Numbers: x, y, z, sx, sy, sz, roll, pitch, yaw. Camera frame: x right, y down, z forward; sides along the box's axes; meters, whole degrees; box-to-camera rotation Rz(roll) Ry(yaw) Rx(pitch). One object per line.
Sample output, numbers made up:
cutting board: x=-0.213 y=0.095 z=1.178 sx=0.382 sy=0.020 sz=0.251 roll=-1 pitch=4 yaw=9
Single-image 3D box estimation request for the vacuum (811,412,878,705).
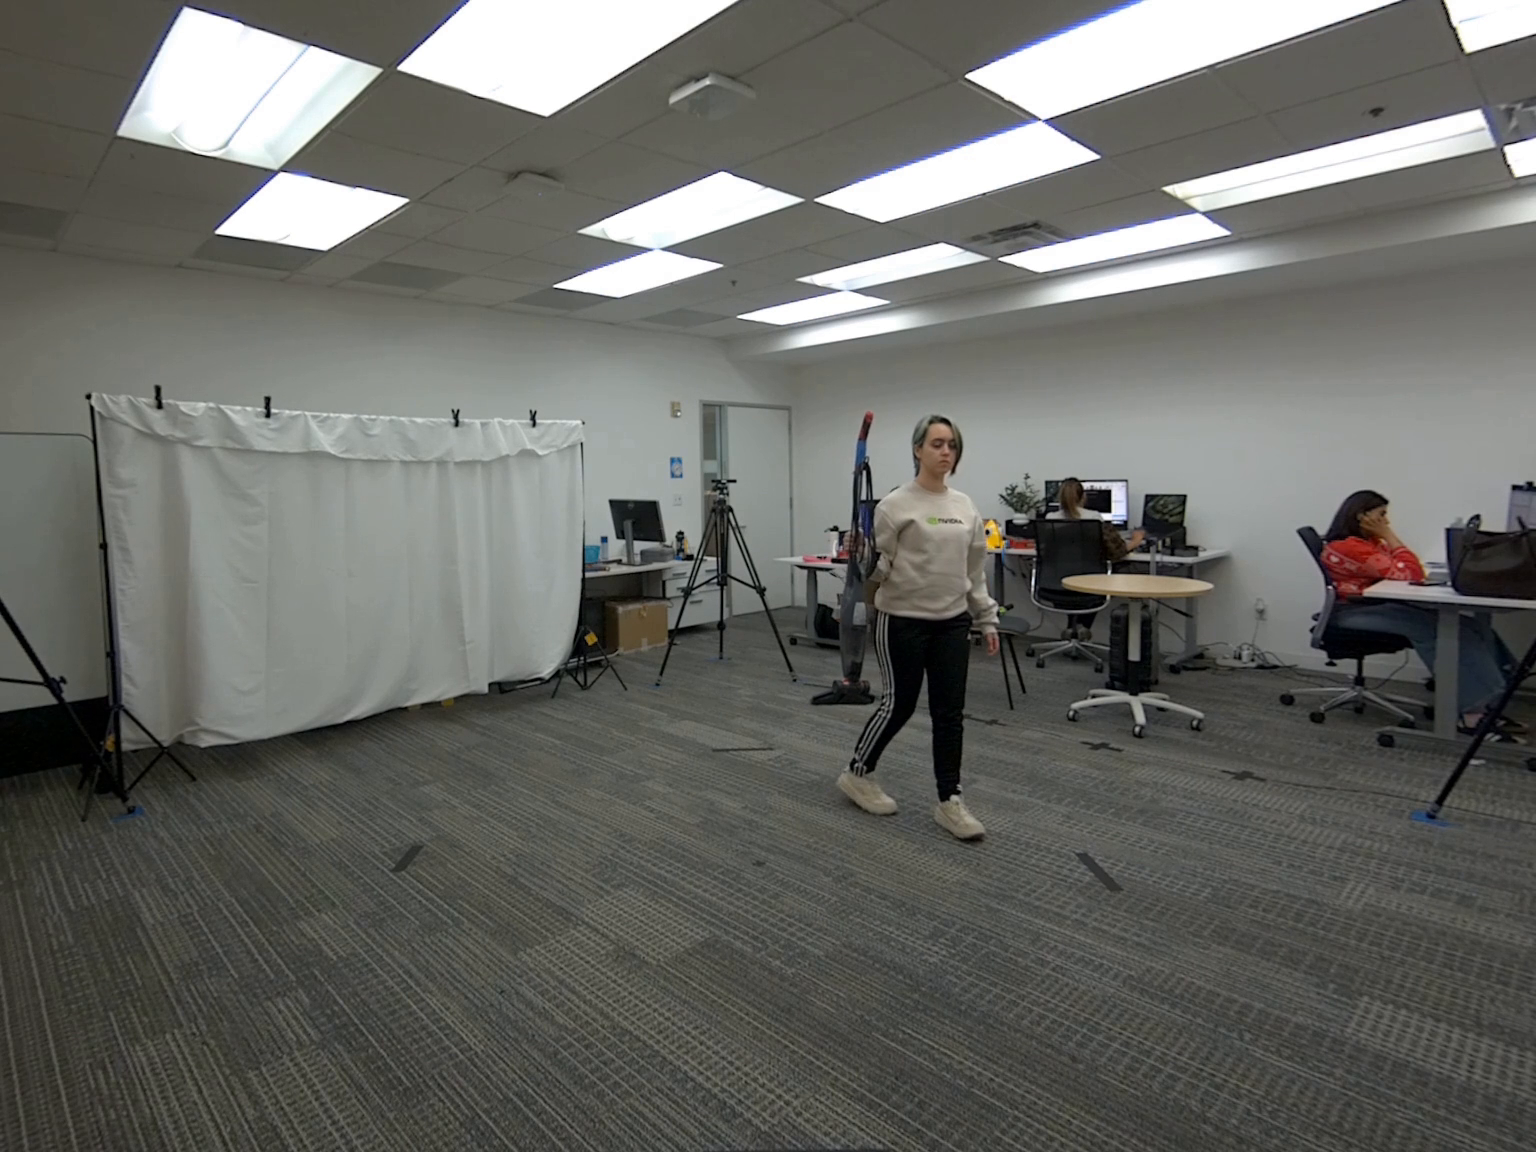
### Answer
vacuum: x=0.330 y=-0.066 z=3.178 sx=0.245 sy=1.047 sz=0.149 roll=3 pitch=4 yaw=-45
